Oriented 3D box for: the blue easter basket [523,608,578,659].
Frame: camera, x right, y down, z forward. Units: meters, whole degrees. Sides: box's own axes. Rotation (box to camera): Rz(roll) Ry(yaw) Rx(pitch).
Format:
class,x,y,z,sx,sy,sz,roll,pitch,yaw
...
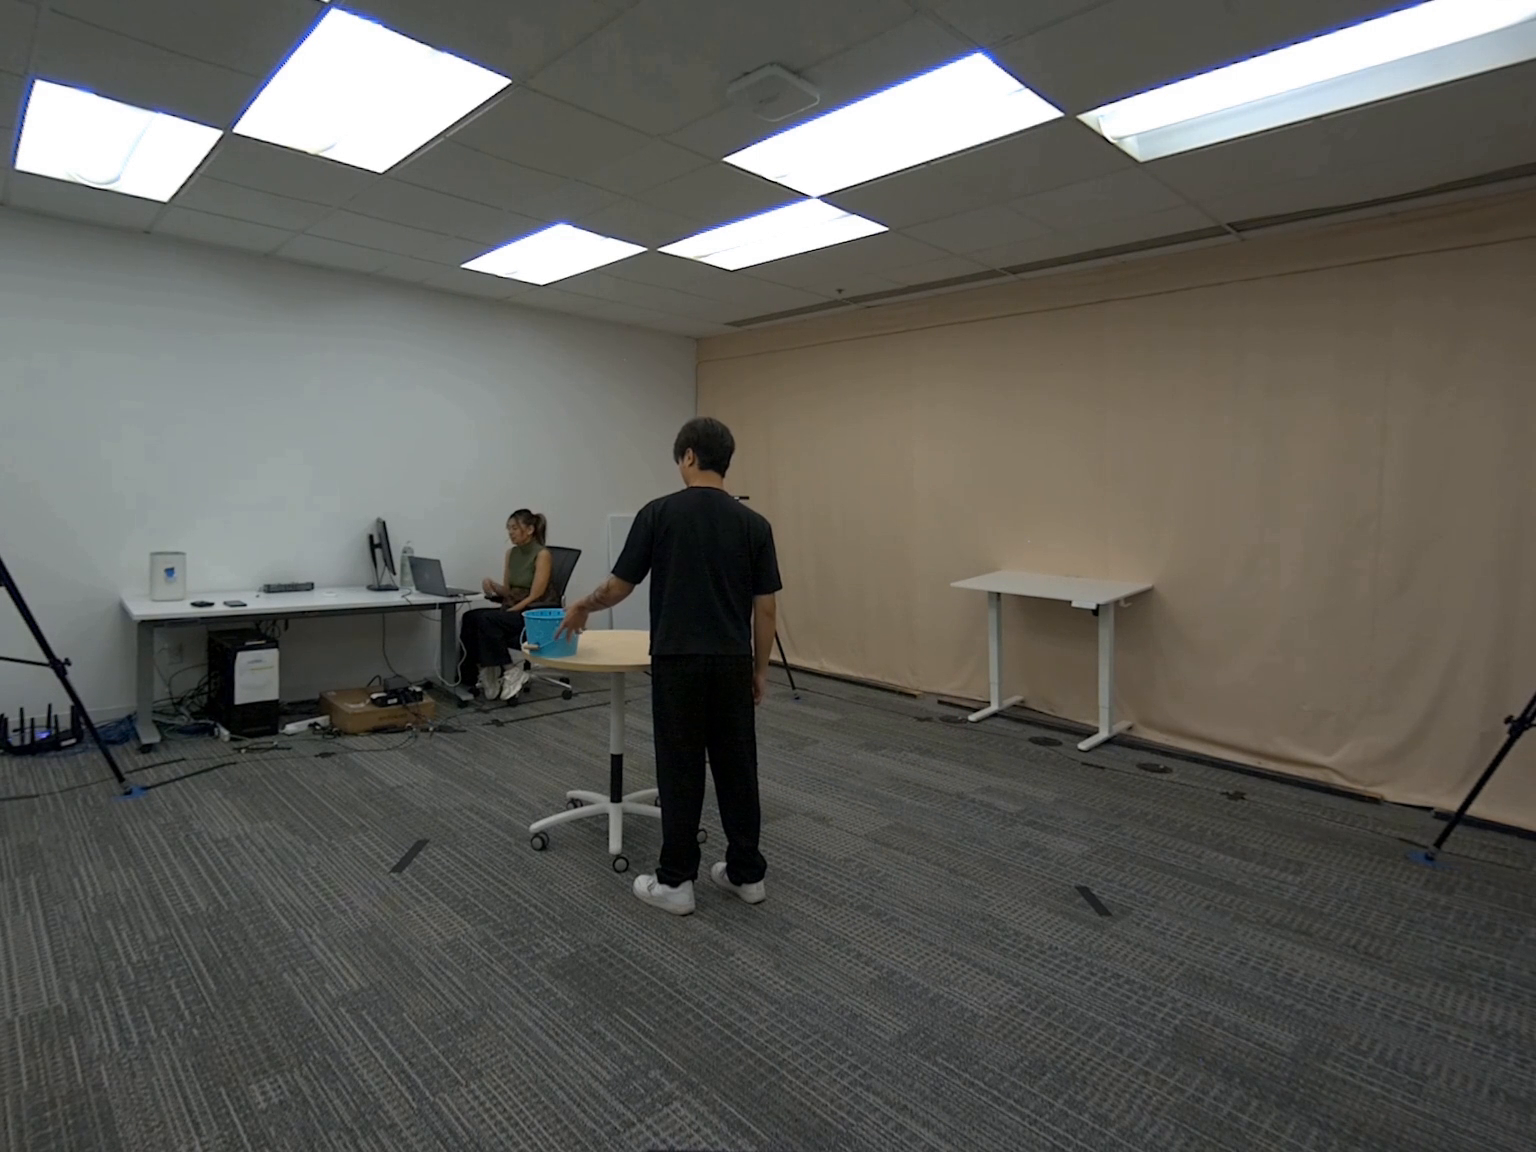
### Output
class,x,y,z,sx,sy,sz,roll,pitch,yaw
blue easter basket,-0.853,0.224,3.222,0.243,0.155,0.244,2,3,-1
